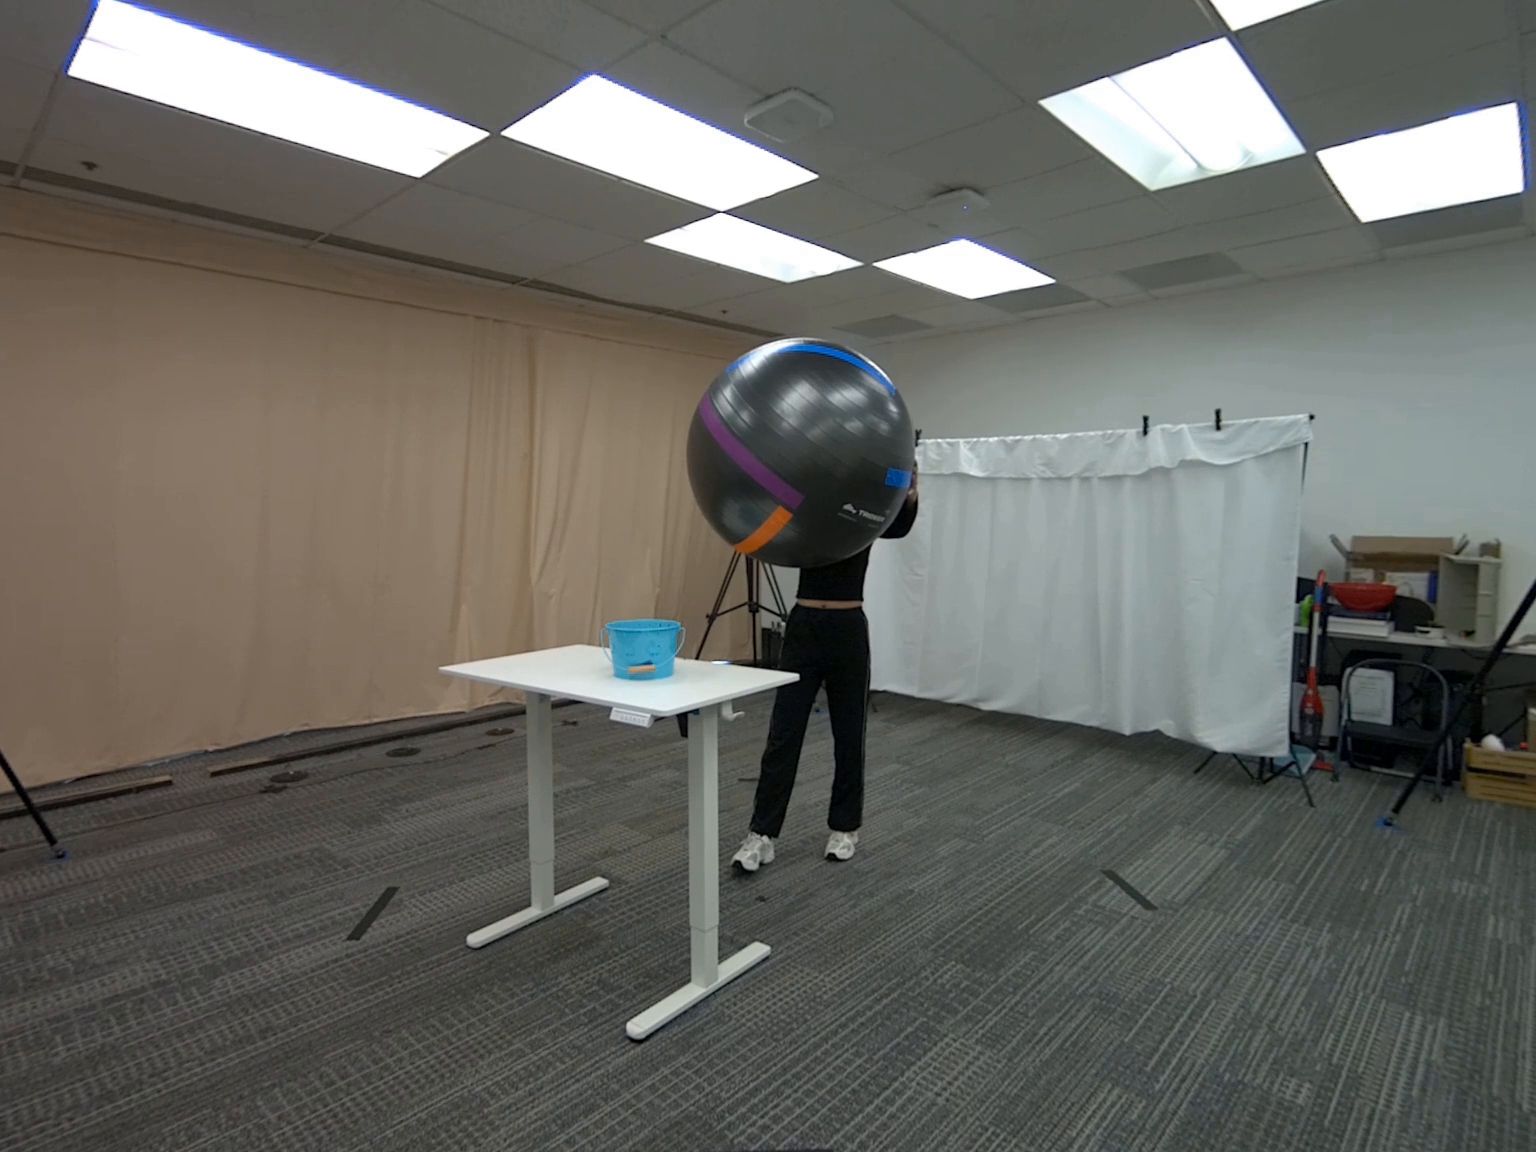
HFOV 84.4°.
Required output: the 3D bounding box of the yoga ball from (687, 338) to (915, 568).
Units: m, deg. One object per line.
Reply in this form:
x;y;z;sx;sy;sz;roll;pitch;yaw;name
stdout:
0.105;-0.396;2.805;0.757;0.756;0.761;0;4;-2;yoga ball
